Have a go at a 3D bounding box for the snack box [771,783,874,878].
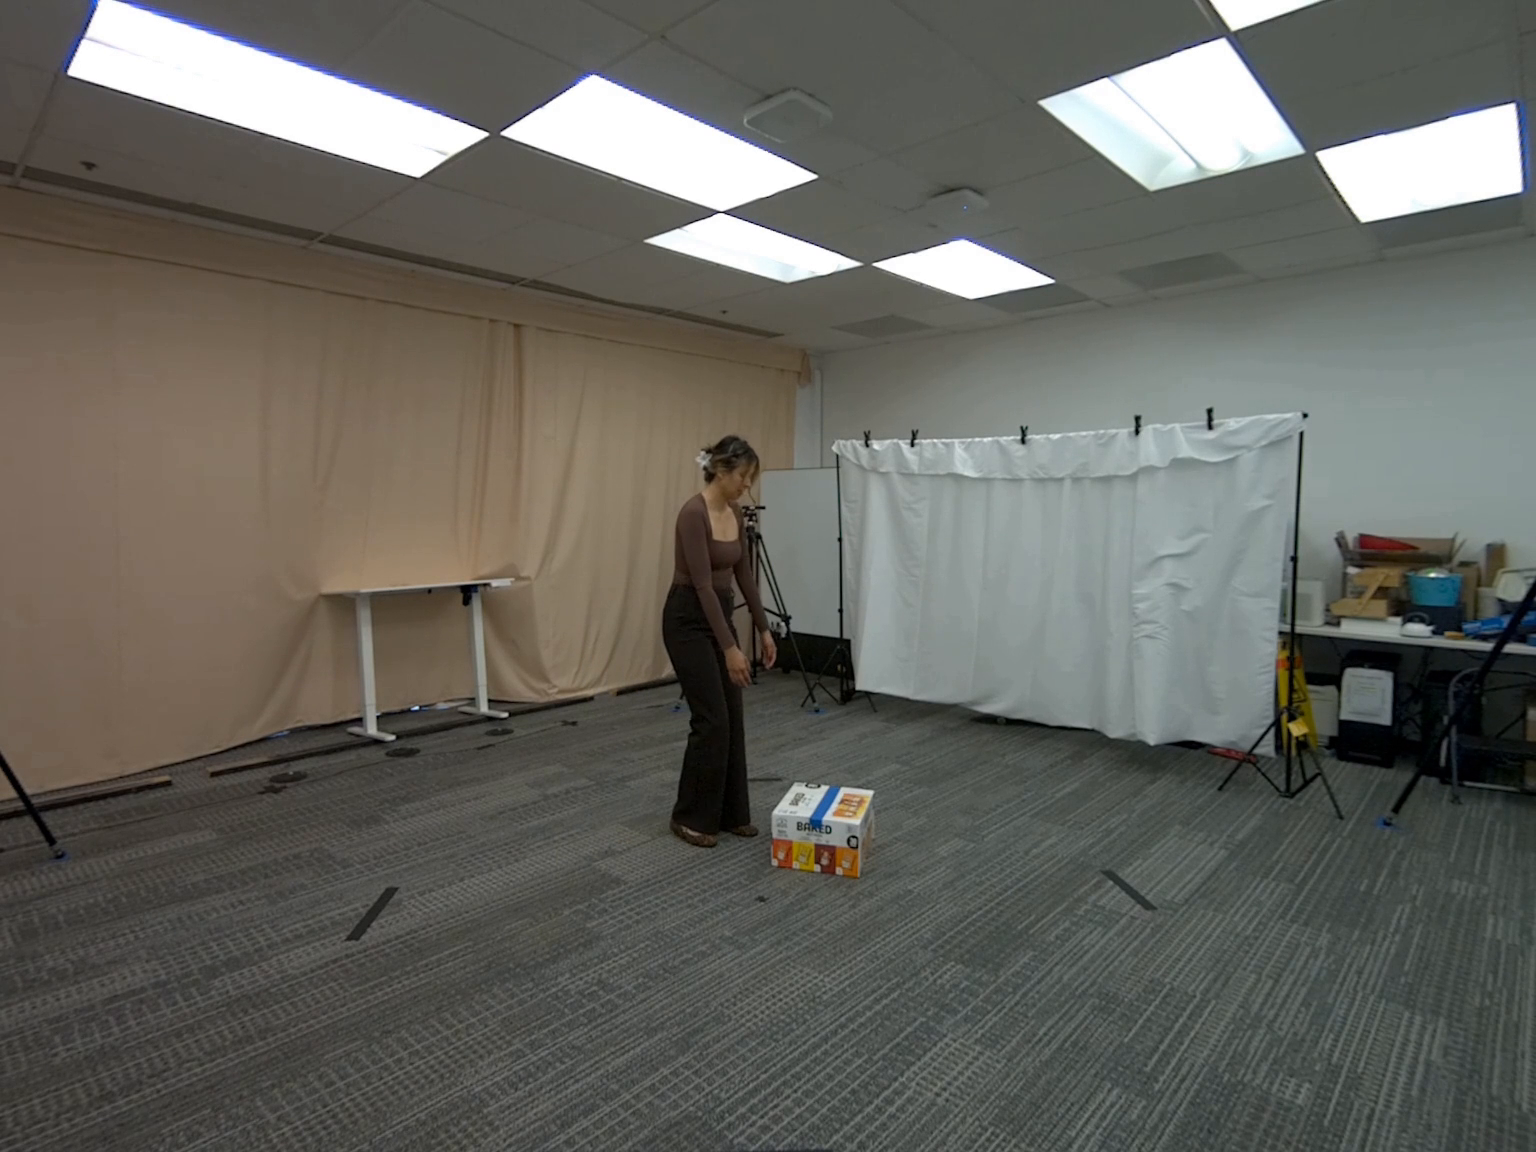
[{"bbox_3d":[0.232,1.007,3.382,0.347,0.205,0.398,1,4,17],"label":"snack box"}]
